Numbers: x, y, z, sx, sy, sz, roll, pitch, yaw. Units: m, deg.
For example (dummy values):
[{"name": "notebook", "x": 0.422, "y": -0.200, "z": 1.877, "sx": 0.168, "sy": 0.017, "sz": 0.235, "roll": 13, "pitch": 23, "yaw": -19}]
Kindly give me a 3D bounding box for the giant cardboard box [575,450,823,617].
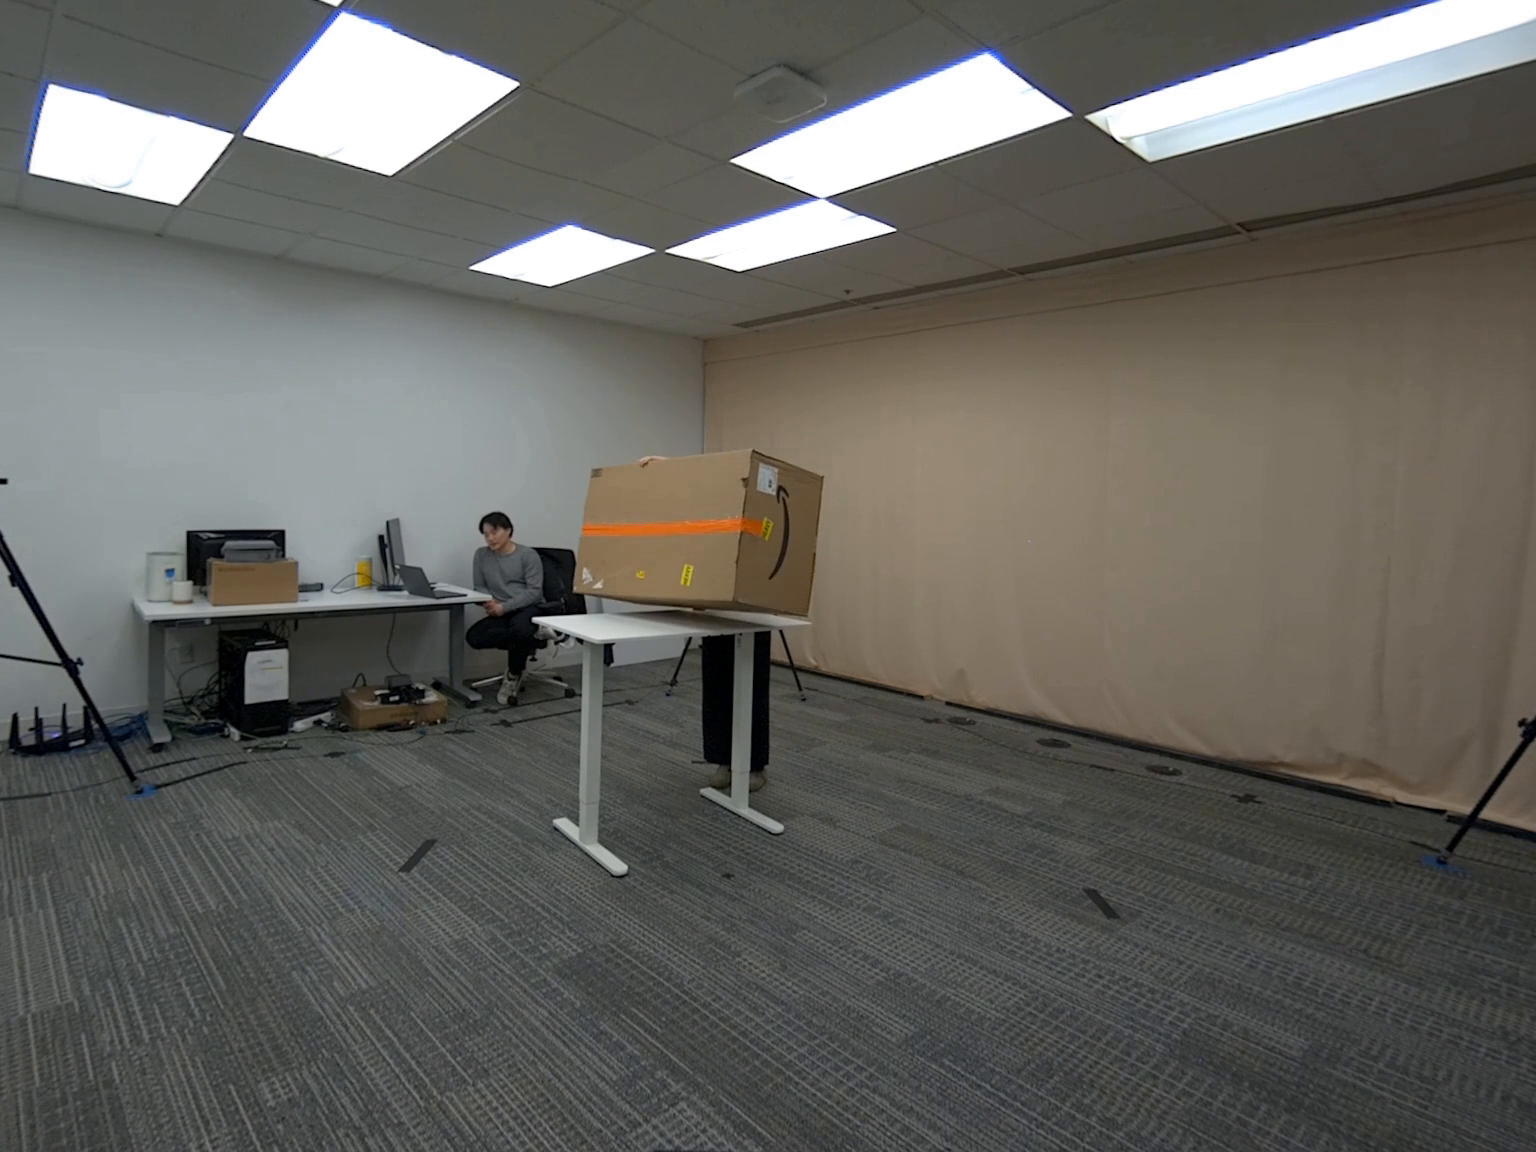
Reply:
[{"name": "giant cardboard box", "x": -0.332, "y": -0.168, "z": 3.564, "sx": 1.050, "sy": 0.580, "sz": 0.414, "roll": 1, "pitch": -9, "yaw": 44}]
